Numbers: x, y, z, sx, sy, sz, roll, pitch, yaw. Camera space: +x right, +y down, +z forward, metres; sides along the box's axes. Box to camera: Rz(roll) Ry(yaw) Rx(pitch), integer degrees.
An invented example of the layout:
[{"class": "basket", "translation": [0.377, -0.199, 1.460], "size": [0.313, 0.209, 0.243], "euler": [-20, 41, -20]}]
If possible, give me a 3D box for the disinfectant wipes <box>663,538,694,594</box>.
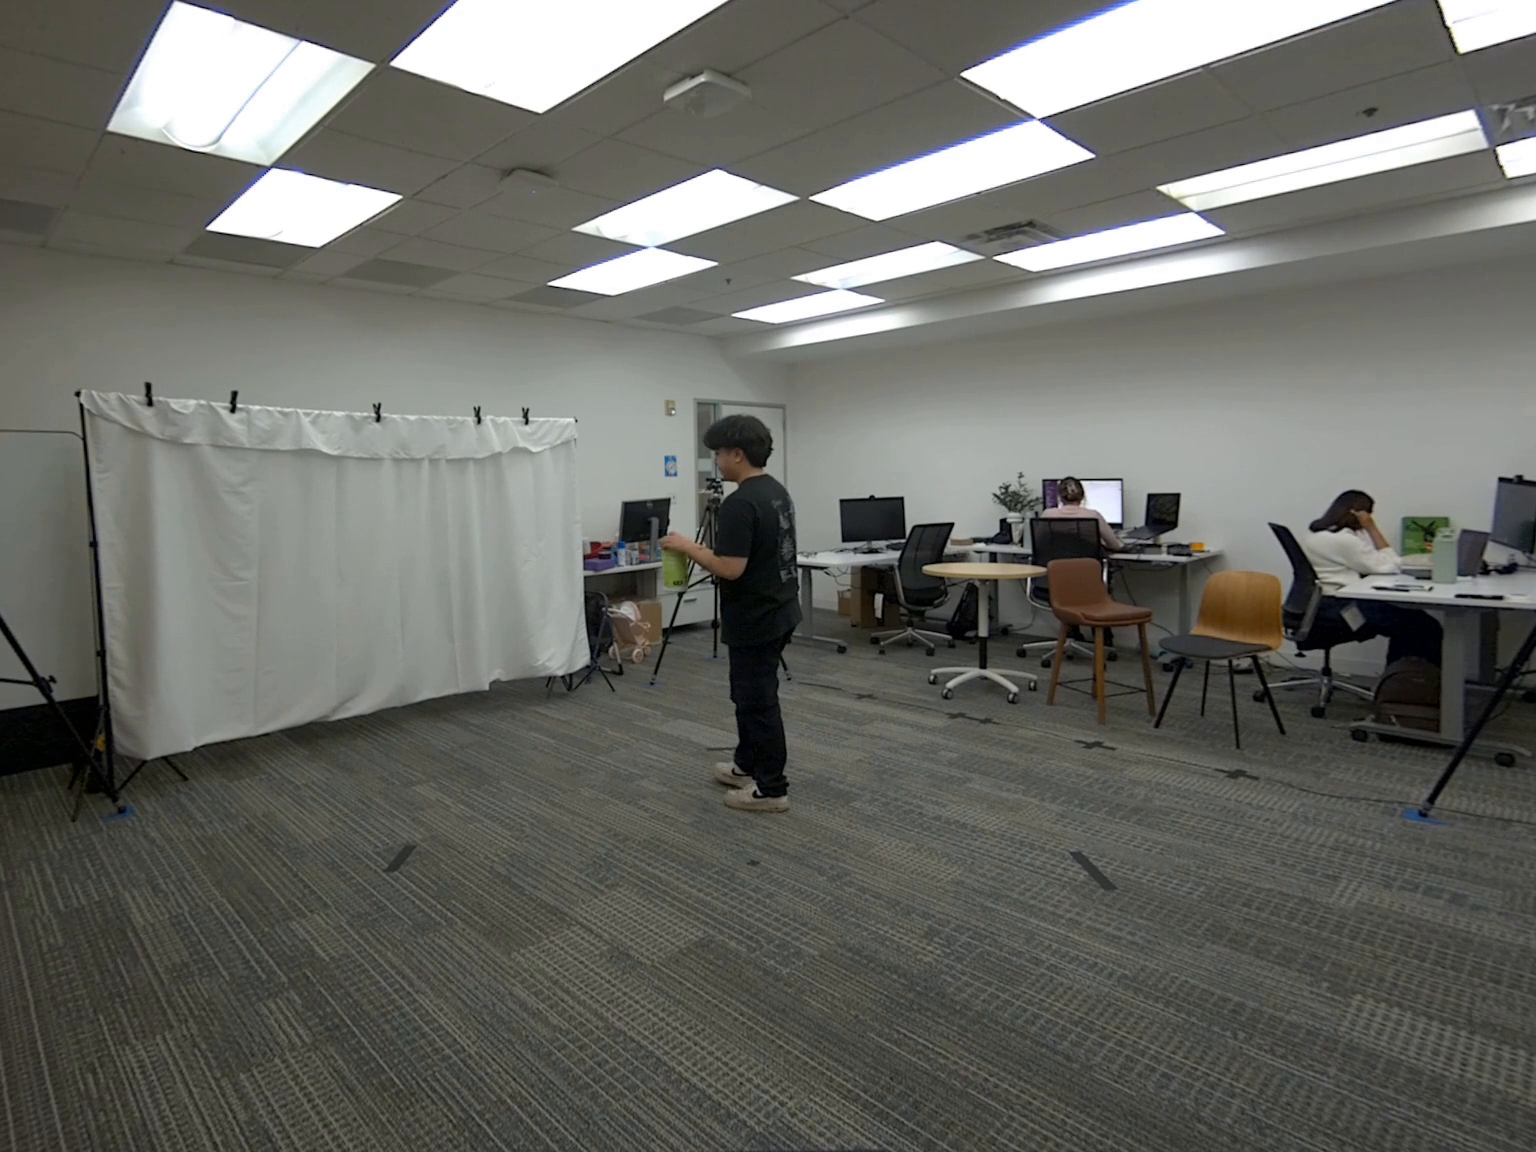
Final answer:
[{"class": "disinfectant wipes", "translation": [-0.380, -0.045, 3.624], "size": [0.118, 0.216, 0.118], "euler": [-1, 5, -2]}]
